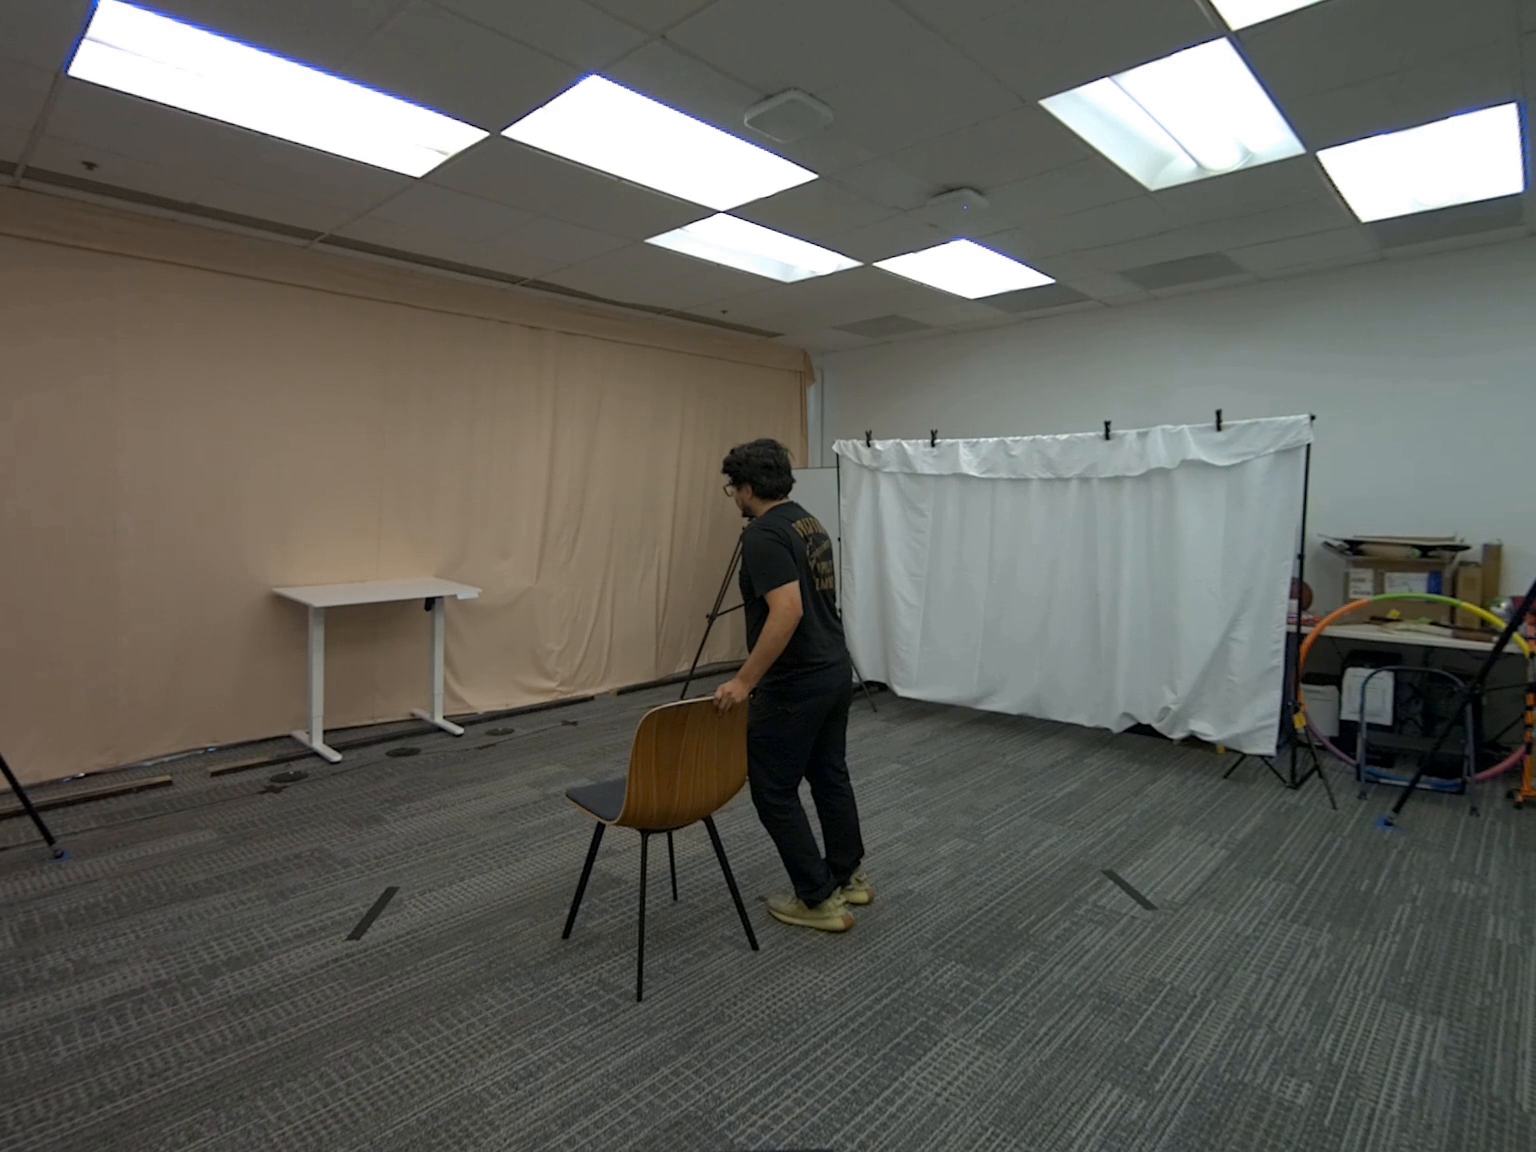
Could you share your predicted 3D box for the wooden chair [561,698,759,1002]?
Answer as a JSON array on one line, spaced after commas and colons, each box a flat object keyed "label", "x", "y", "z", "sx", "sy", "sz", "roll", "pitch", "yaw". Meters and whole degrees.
[{"label": "wooden chair", "x": -0.356, "y": 0.749, "z": 2.652, "sx": 0.463, "sy": 0.874, "sz": 0.541, "roll": -2, "pitch": 8, "yaw": -40}]
